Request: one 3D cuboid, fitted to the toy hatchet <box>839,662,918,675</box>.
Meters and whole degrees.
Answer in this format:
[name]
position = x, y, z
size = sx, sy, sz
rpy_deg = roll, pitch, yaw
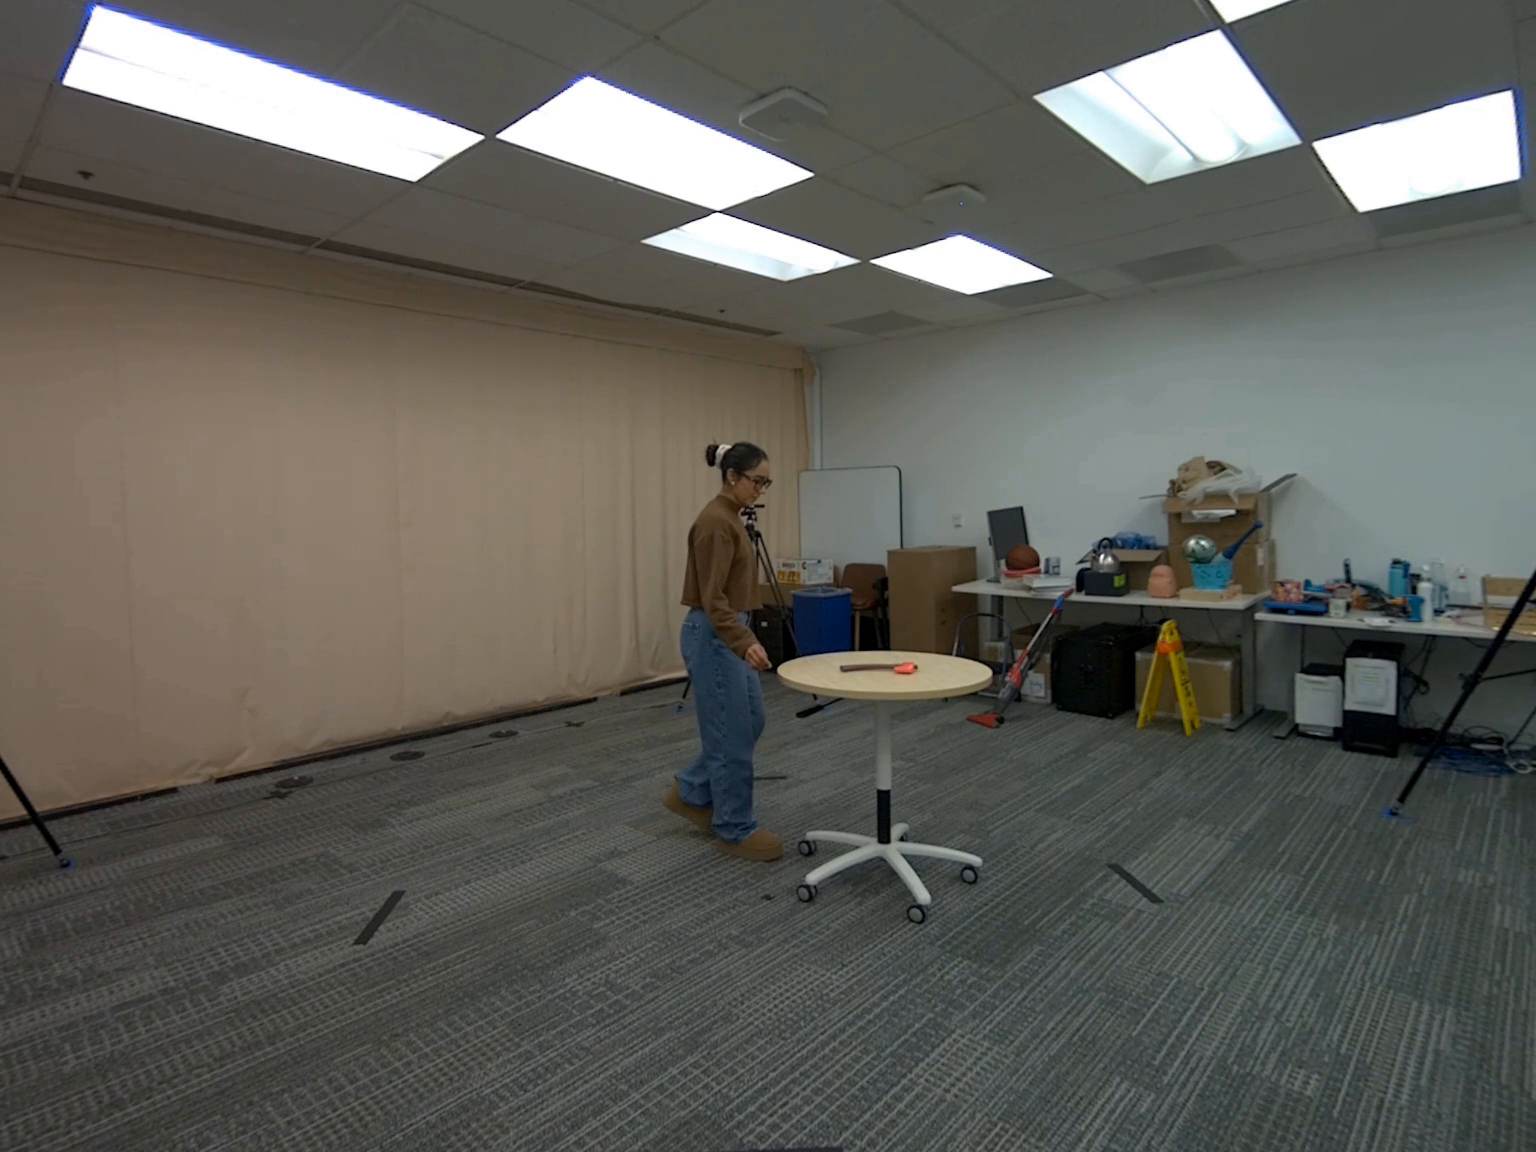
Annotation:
[toy hatchet]
position = 0.409, 0.338, 3.007
size = 0.269, 0.029, 0.132
rpy_deg = -4, 8, -5
